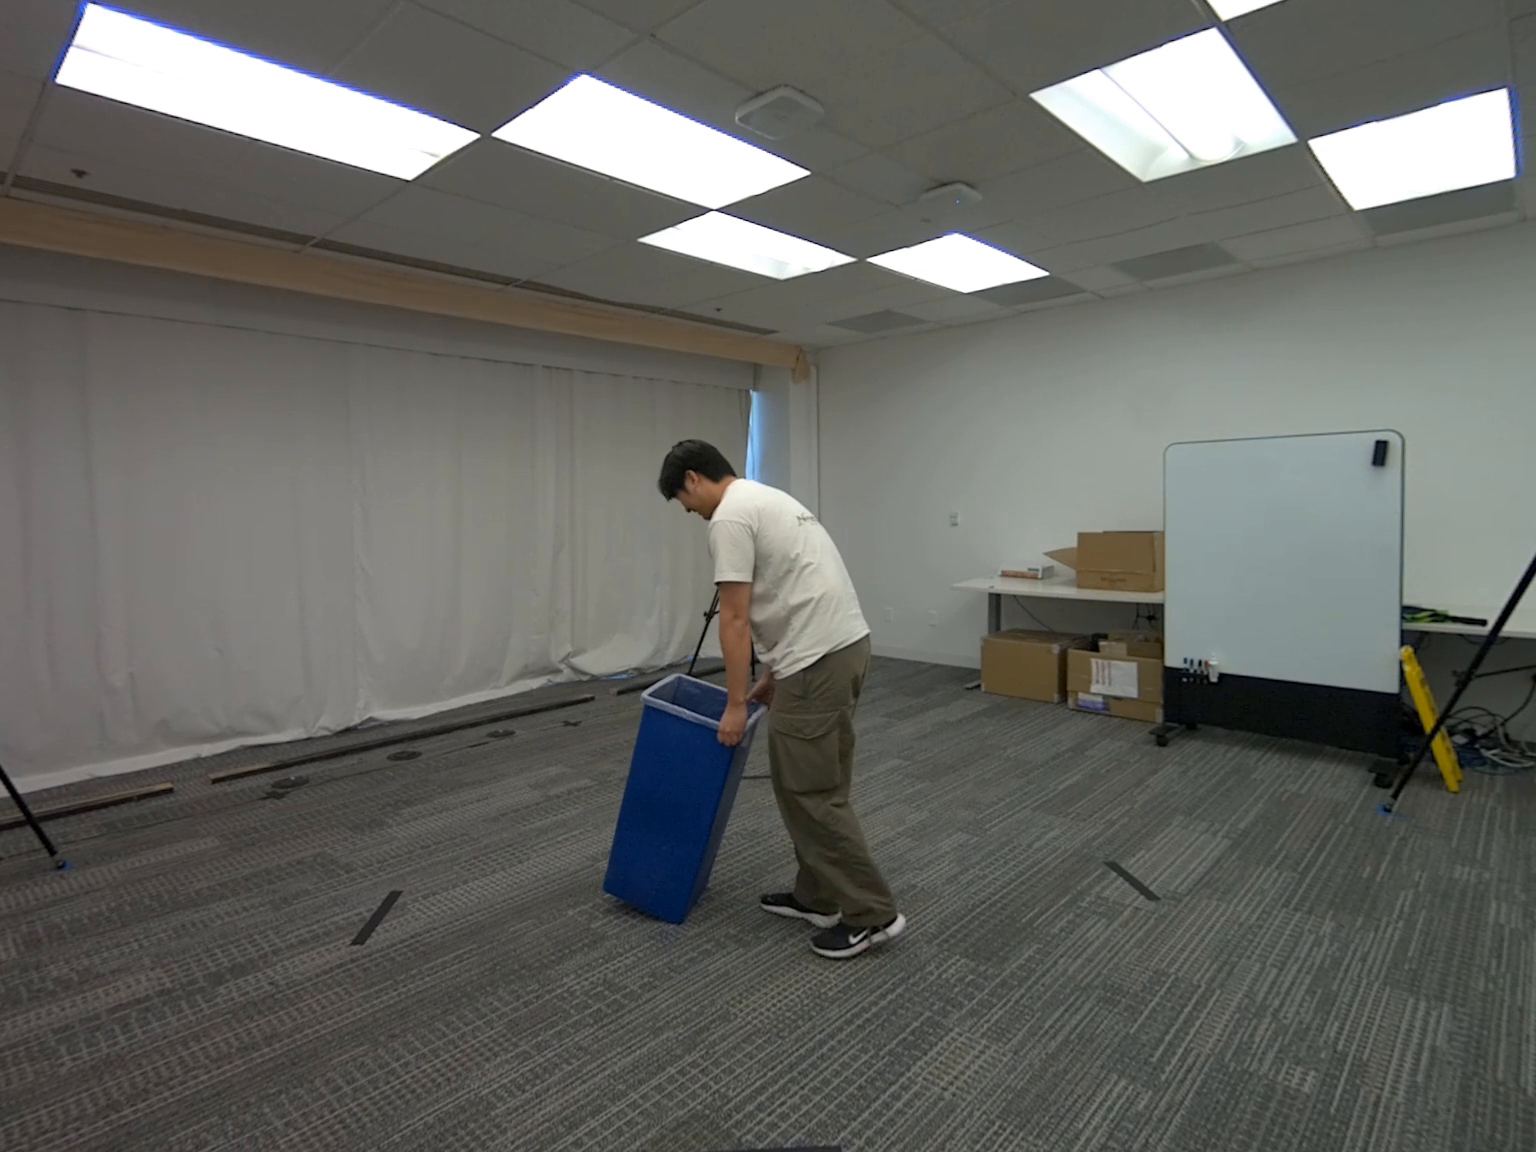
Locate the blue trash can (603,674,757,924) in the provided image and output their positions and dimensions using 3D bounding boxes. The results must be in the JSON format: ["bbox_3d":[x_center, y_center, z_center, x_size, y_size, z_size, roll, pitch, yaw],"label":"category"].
[{"bbox_3d":[-0.308,0.761,2.920,0.380,0.712,0.373,19,8,13],"label":"blue trash can"}]
